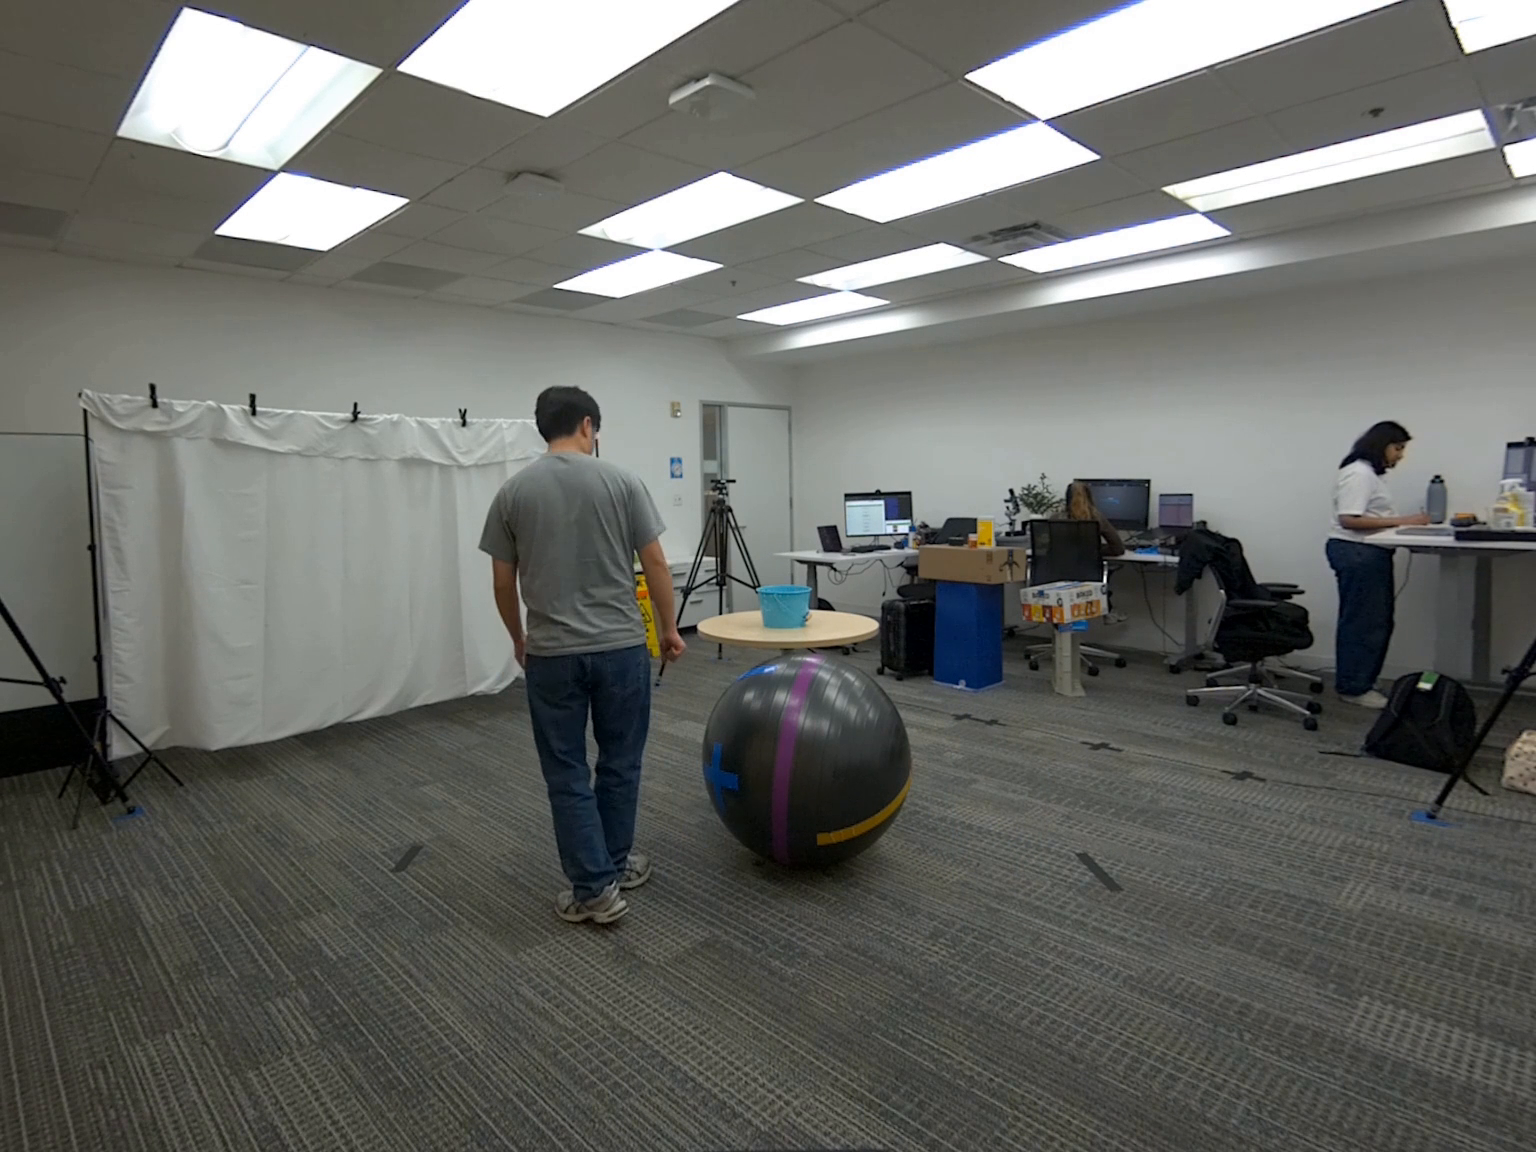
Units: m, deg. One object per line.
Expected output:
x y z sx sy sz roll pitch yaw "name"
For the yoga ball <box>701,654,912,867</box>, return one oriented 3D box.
0.145 0.669 3.135 0.757 0.755 0.762 -1 5 -2 "yoga ball"
